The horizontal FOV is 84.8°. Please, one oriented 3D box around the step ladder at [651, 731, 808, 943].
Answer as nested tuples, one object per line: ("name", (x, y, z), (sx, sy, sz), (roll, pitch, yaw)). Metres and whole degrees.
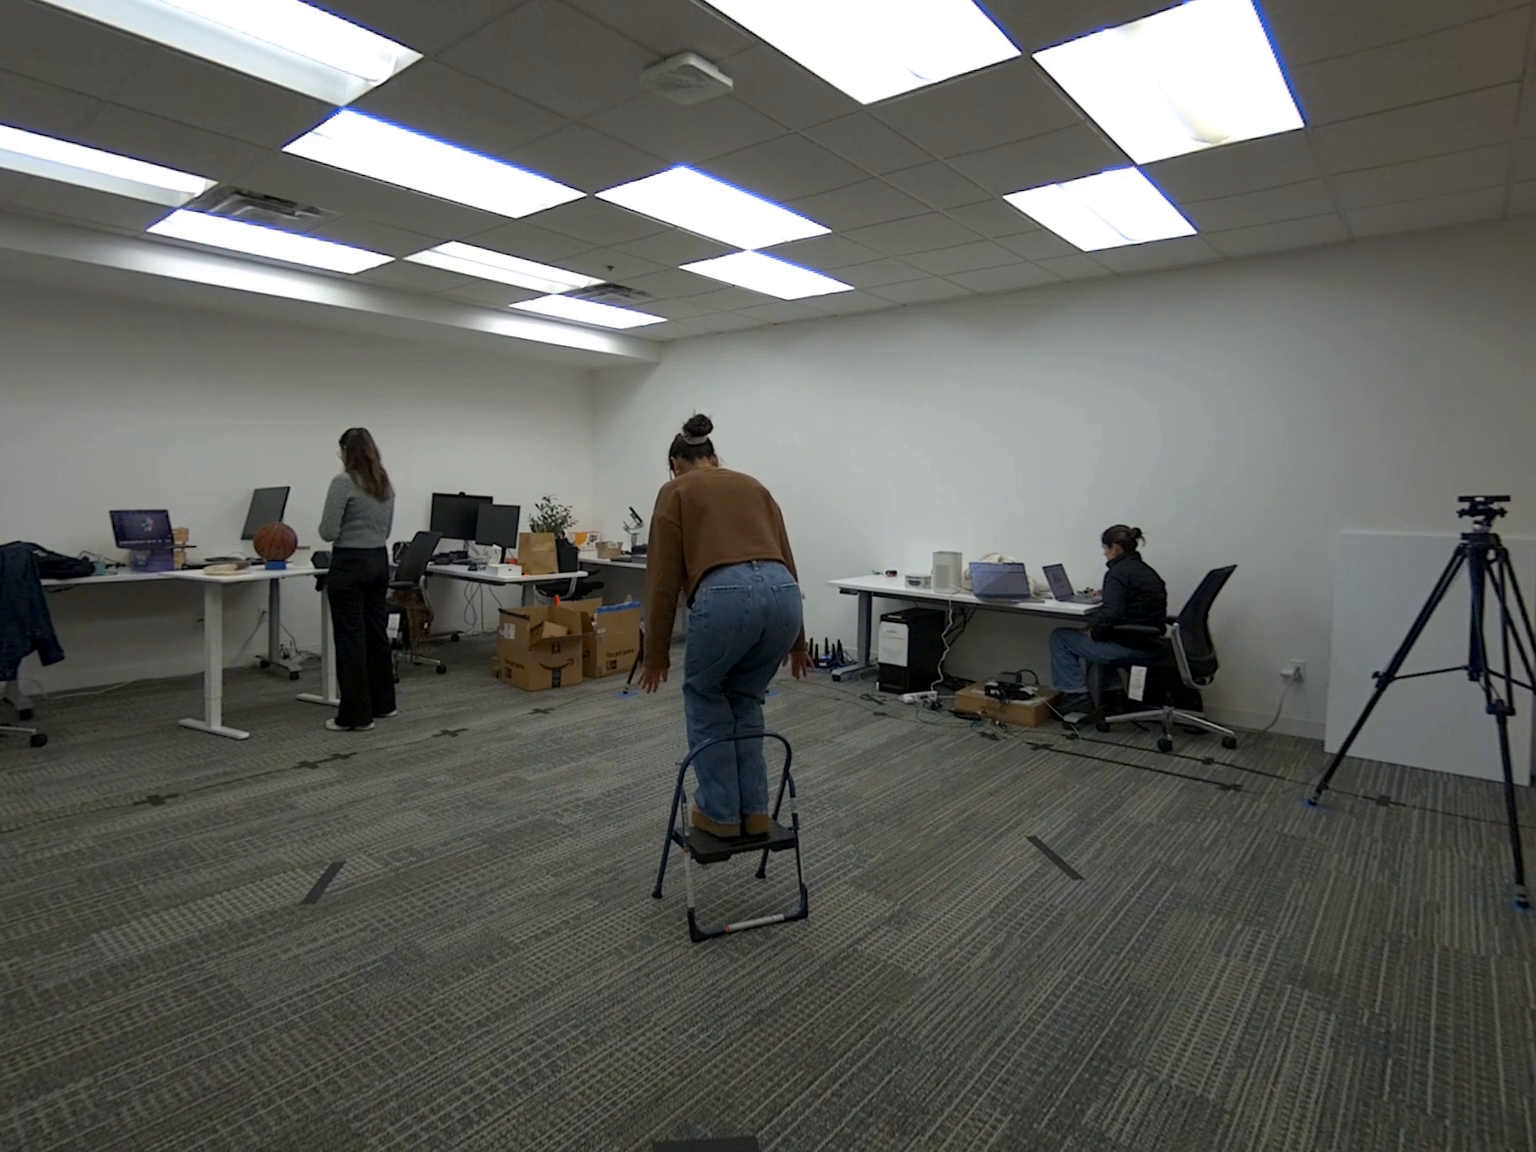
("step ladder", (-0.129, 0.796, 2.813), (0.420, 0.604, 0.359), (-1, 4, -27))
